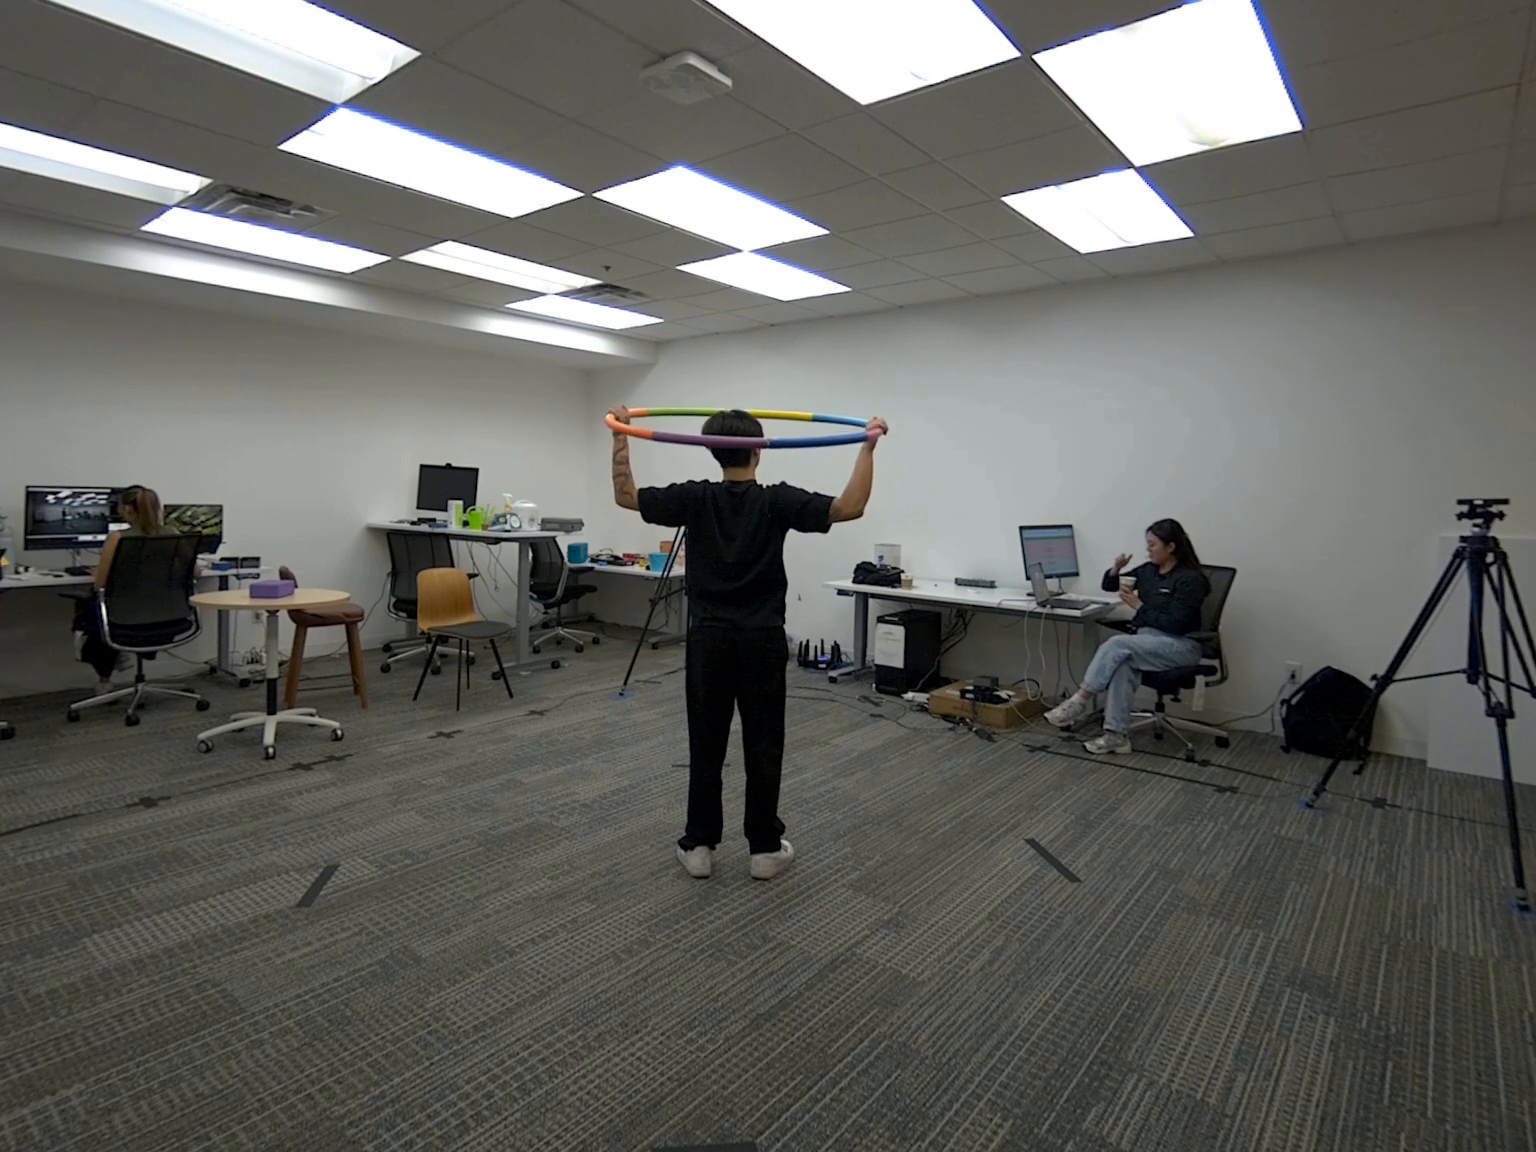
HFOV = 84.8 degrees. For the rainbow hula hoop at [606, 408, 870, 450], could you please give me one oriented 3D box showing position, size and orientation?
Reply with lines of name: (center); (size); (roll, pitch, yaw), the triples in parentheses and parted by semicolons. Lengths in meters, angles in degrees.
rainbow hula hoop: (-0.094, -0.536, 3.058); (0.977, 0.035, 0.994); (1, 16, -2)
